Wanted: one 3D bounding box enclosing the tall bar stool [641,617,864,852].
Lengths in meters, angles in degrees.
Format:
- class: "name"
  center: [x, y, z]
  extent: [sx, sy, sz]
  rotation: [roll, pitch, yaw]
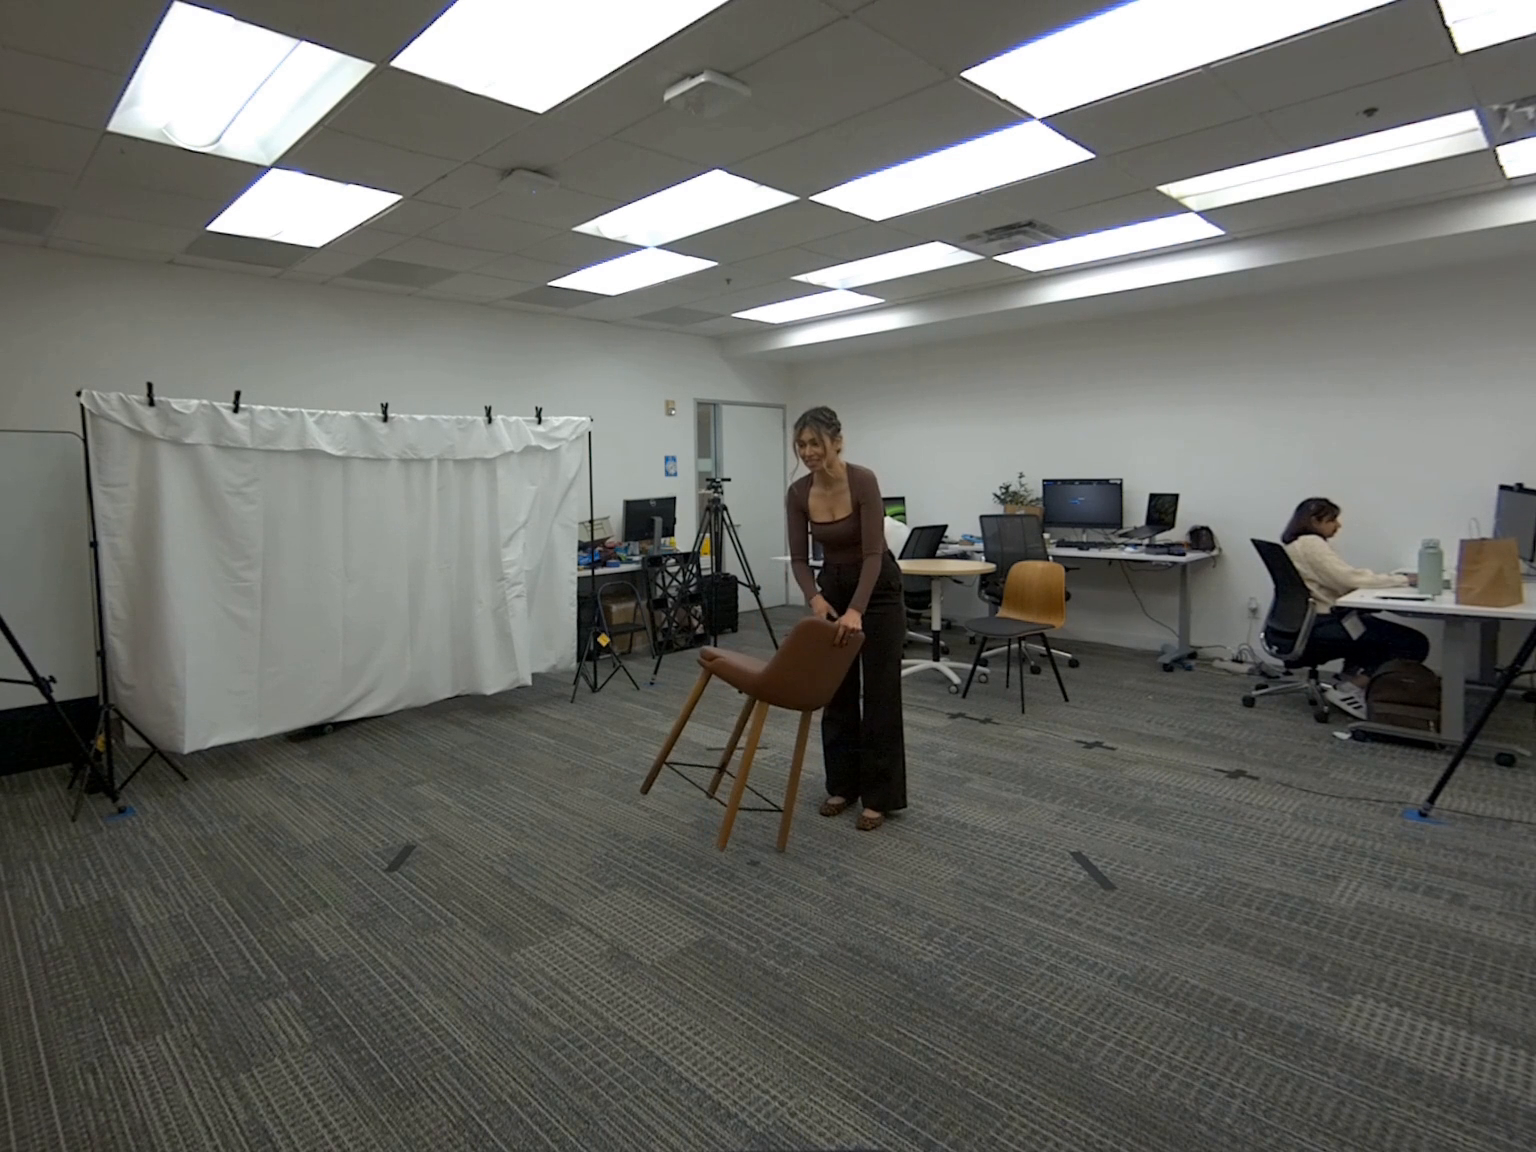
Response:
- class: "tall bar stool"
  center: [-0.048, 0.524, 3.229]
  extent: [0.485, 0.889, 0.440]
  rotation: [22, 1, 43]
